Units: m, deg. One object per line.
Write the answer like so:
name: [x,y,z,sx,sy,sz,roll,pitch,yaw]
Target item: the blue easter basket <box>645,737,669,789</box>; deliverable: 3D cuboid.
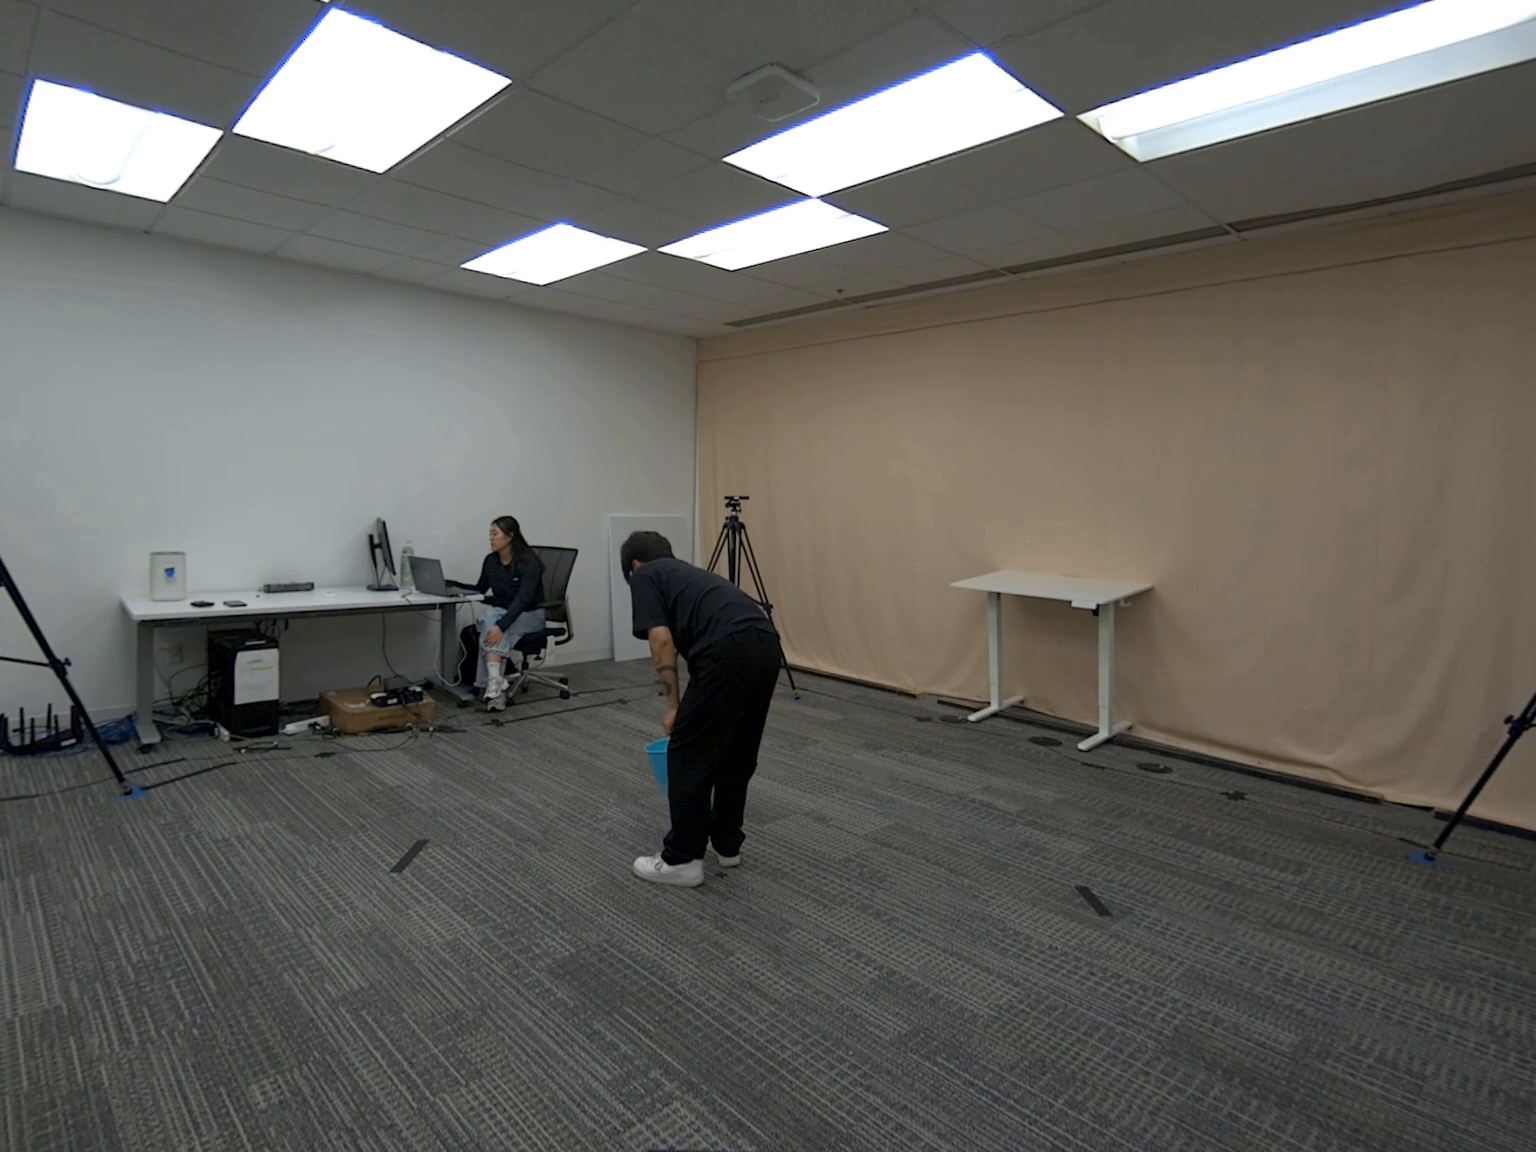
blue easter basket: [-0.393,0.778,3.519,0.243,0.155,0.244,-9,3,-1]
